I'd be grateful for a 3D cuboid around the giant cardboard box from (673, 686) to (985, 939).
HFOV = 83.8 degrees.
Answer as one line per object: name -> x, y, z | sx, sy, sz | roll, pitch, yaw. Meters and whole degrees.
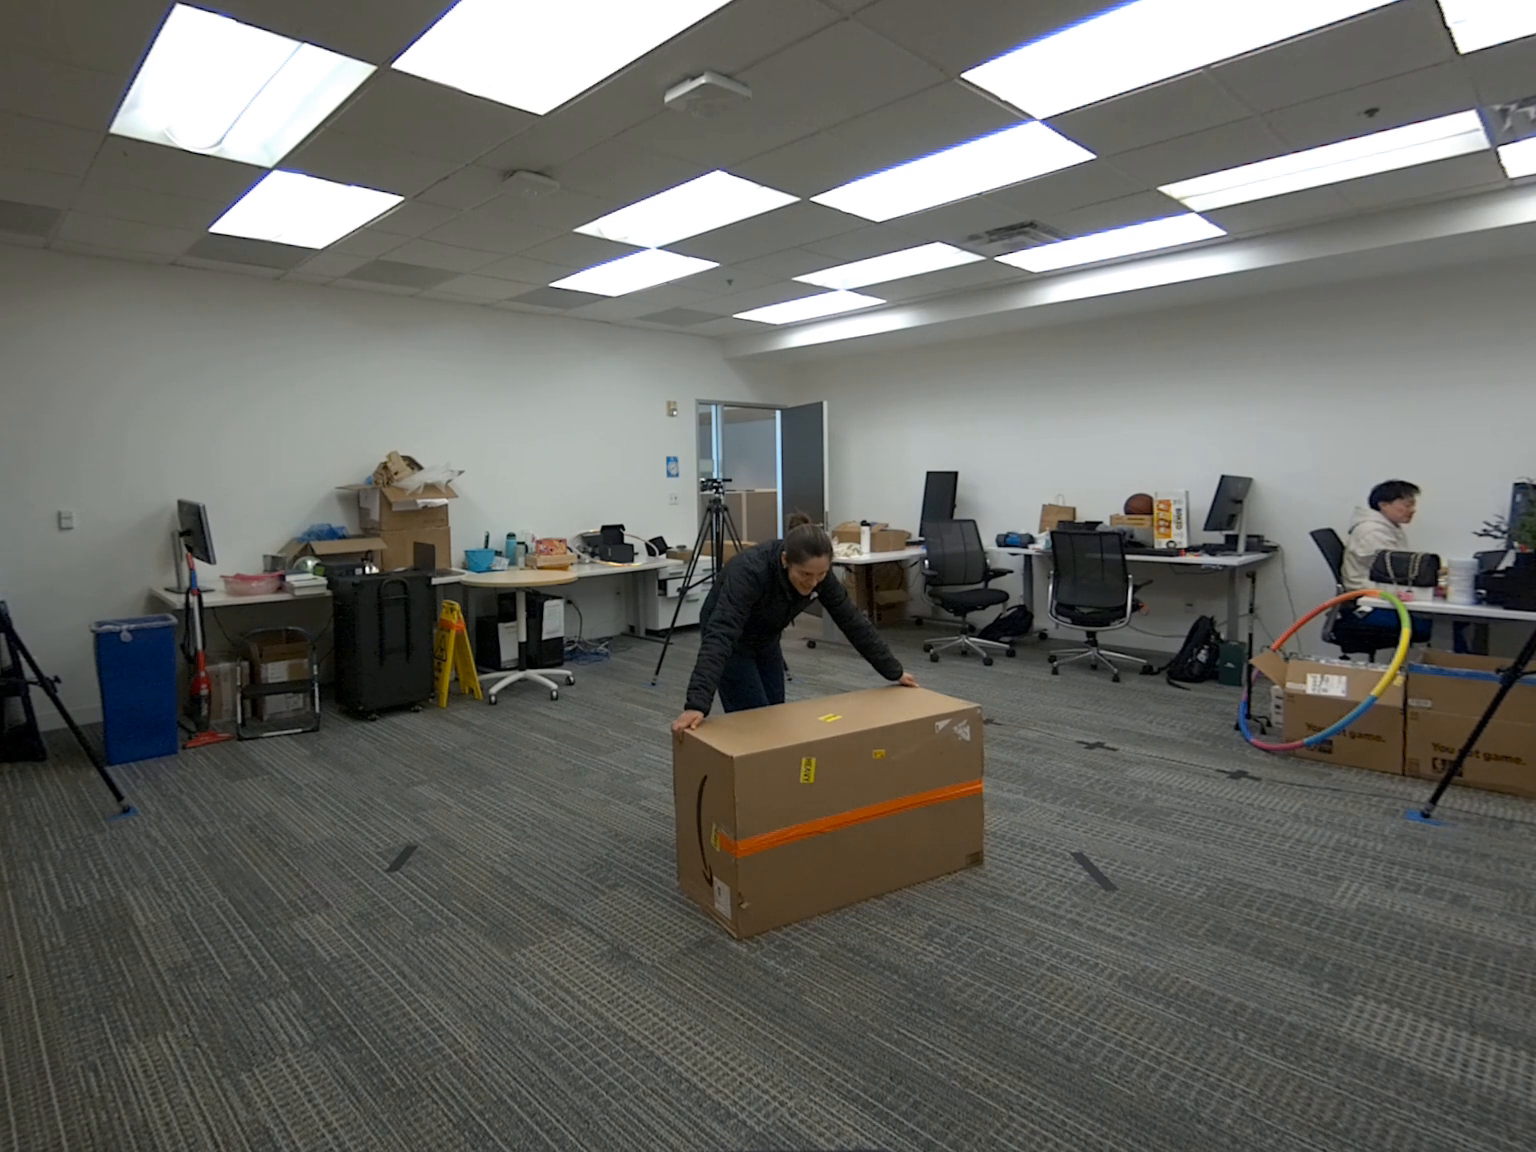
giant cardboard box -> 0.222, 0.764, 2.996 | 1.003, 0.581, 0.459 | -5, 7, -30
